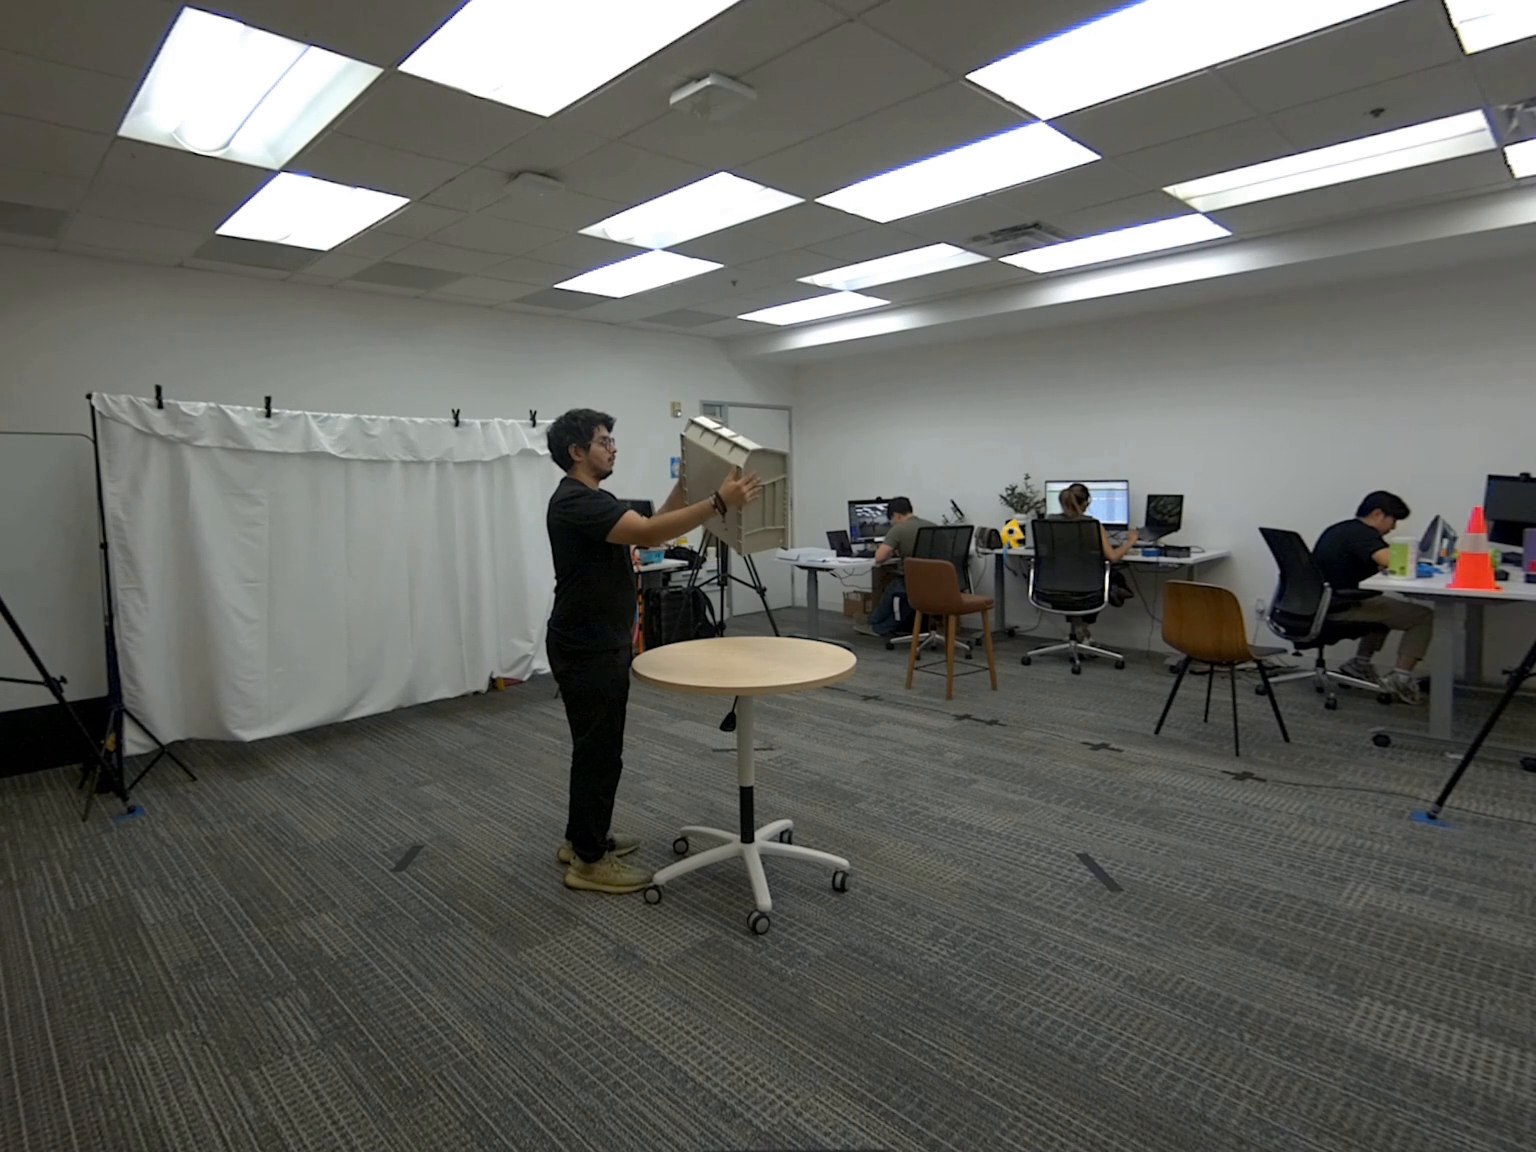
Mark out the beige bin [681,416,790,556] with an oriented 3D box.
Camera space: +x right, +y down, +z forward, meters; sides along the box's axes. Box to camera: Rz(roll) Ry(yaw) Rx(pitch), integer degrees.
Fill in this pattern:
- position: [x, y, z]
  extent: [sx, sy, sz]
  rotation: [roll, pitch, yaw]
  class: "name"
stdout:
- position: [-0.118, -0.314, 2.900]
  extent: [0.185, 0.369, 0.439]
  rotation: [-15, 30, -29]
  class: "beige bin"
